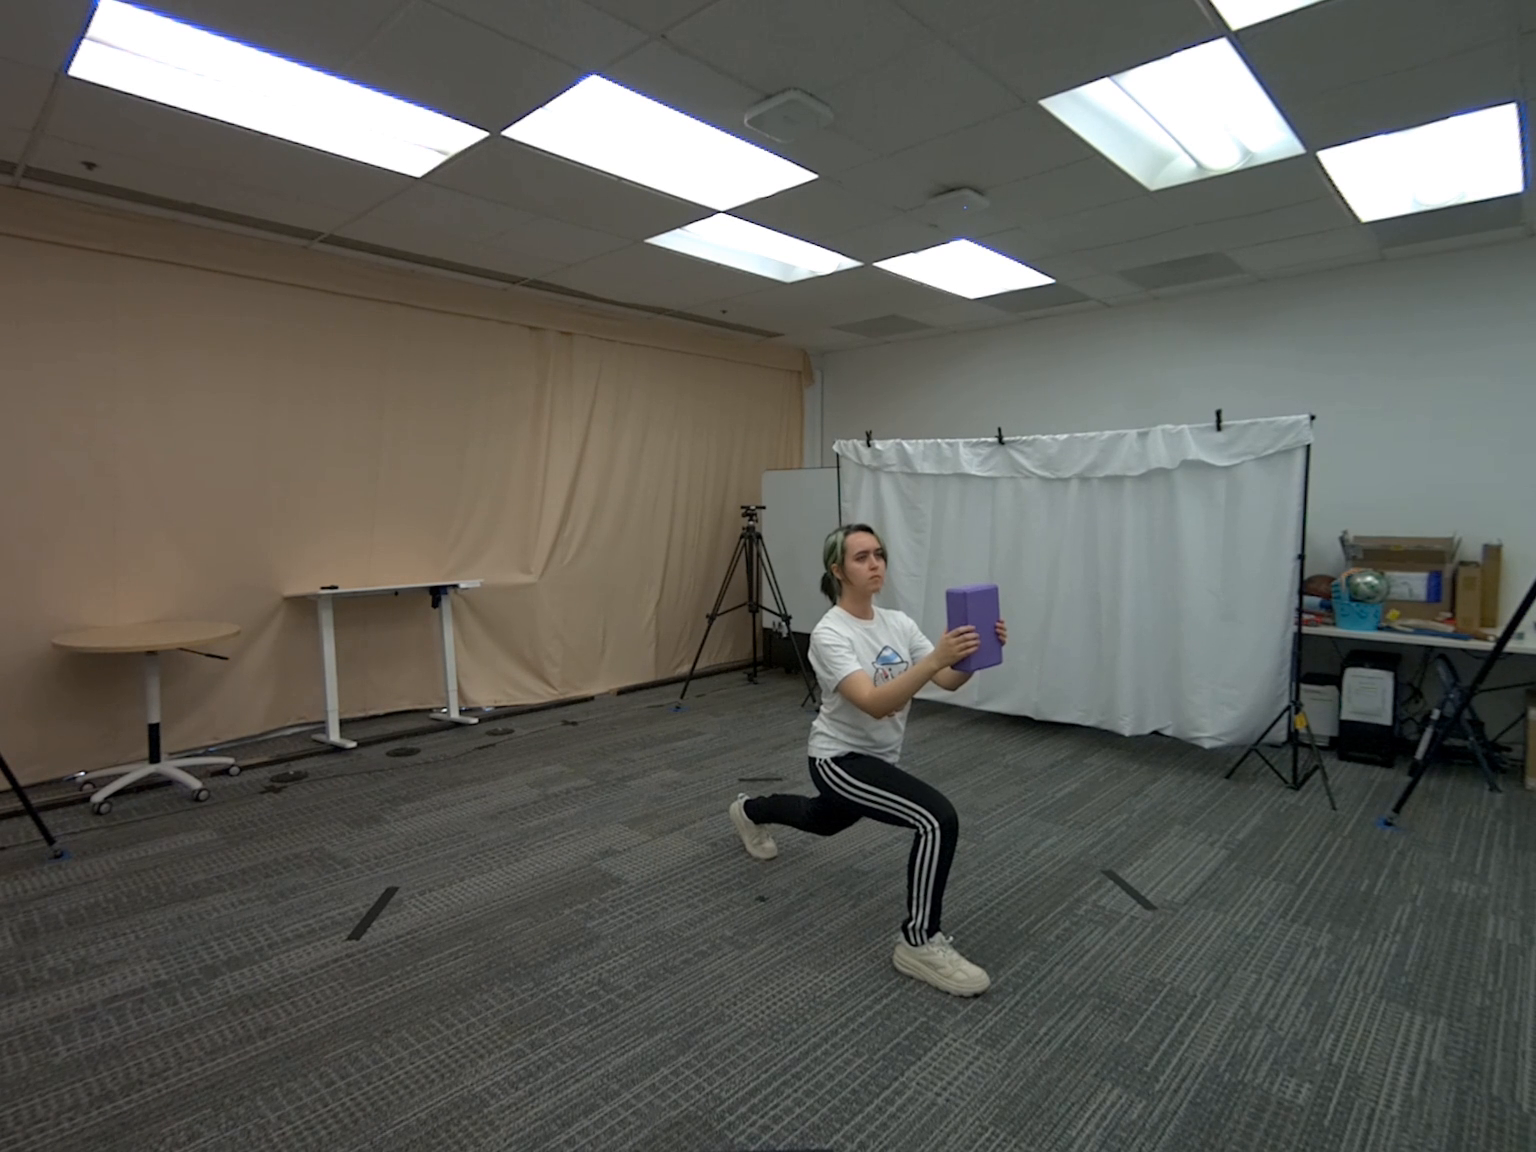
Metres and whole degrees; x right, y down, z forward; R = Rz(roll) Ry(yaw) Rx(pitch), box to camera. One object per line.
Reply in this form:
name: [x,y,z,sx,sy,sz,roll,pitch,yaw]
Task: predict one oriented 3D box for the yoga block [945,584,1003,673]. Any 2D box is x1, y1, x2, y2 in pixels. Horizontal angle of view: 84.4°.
yoga block: [0.590,0.144,2.365,0.145,0.229,0.078,-6,3,-34]
